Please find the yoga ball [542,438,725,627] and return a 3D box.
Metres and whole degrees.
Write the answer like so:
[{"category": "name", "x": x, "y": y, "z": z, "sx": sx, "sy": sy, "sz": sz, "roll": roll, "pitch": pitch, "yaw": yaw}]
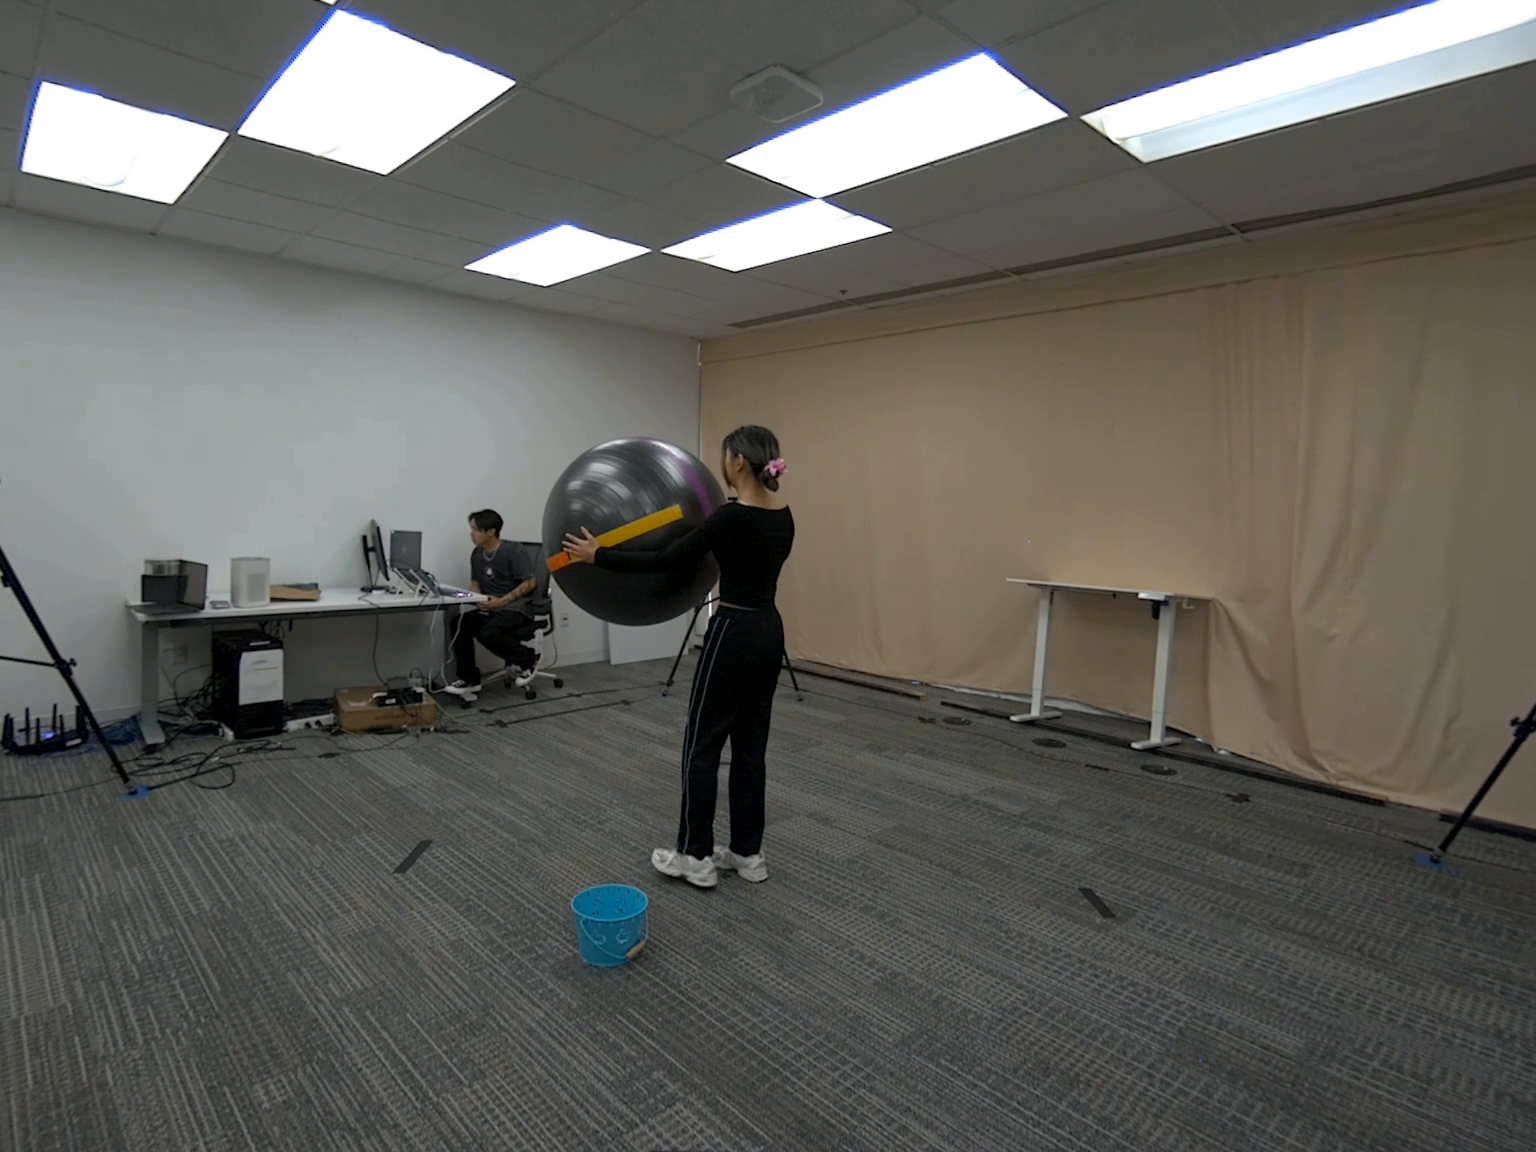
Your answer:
[{"category": "yoga ball", "x": -0.534, "y": -0.170, "z": 3.383, "sx": 0.757, "sy": 0.756, "sz": 0.761, "roll": 1, "pitch": 4, "yaw": -1}]
